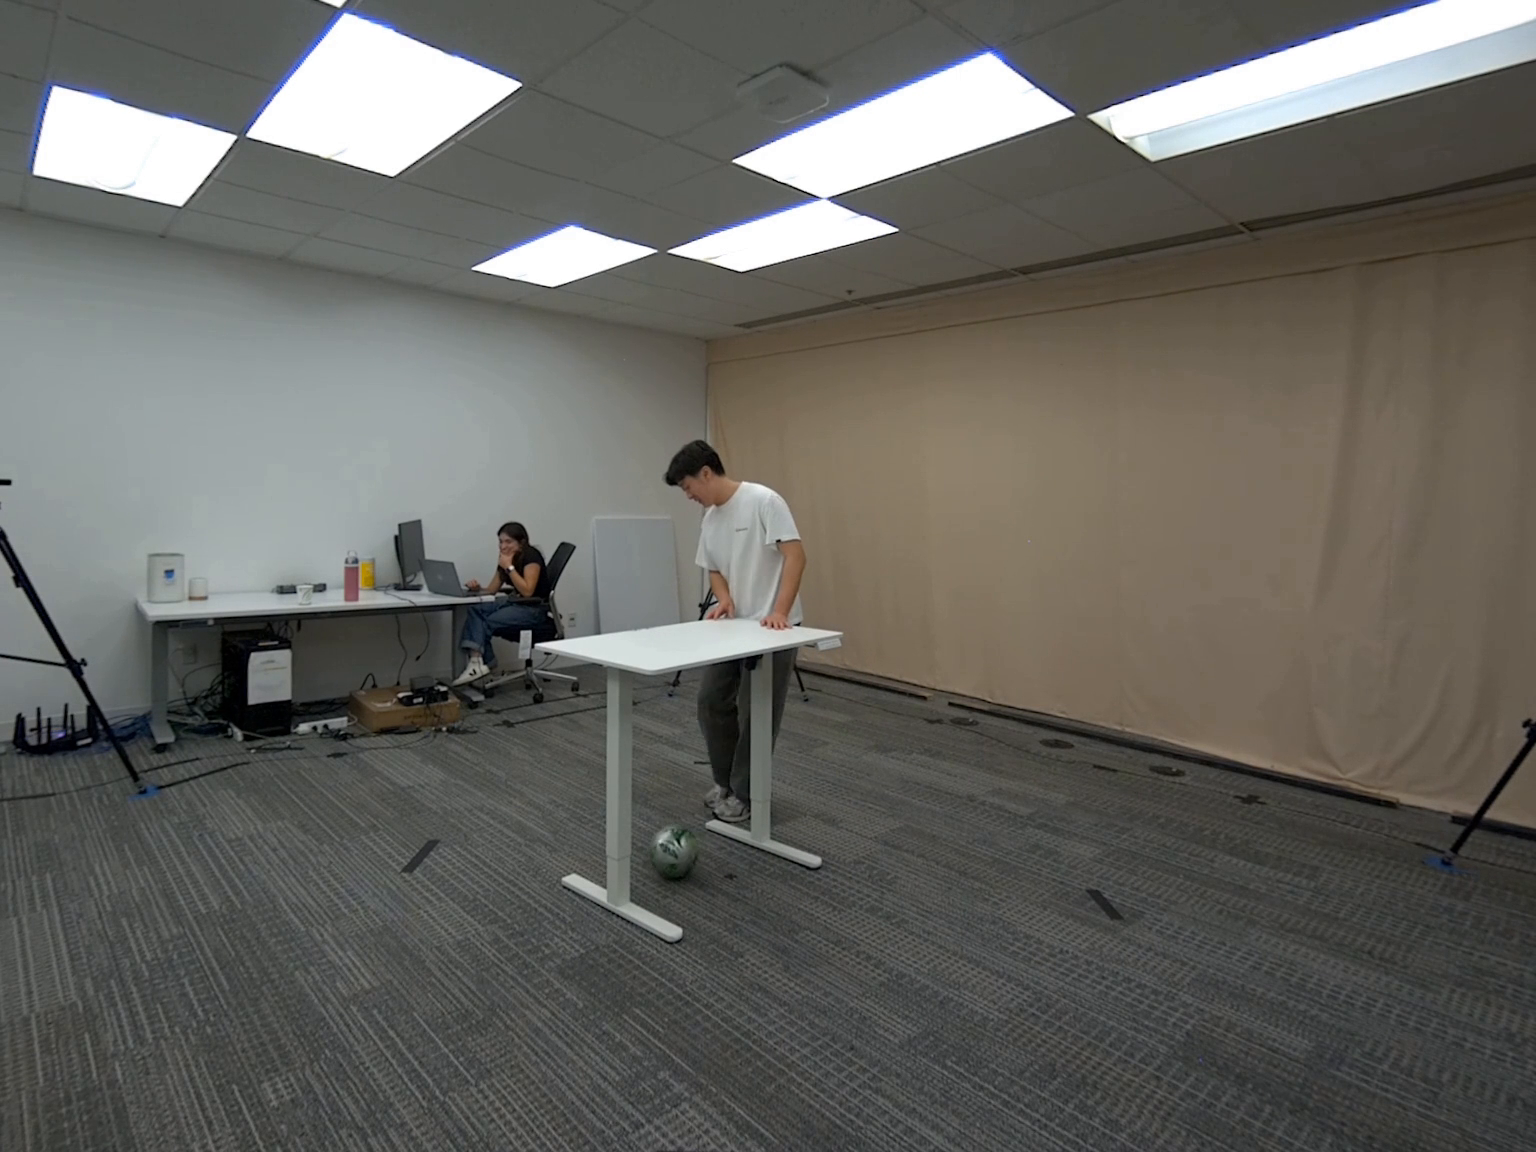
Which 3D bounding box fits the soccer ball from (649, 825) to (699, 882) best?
[{"bbox_3d":[-0.352,1.017,3.083,0.187,0.187,0.188,1,4,-1],"label":"soccer ball"}]
